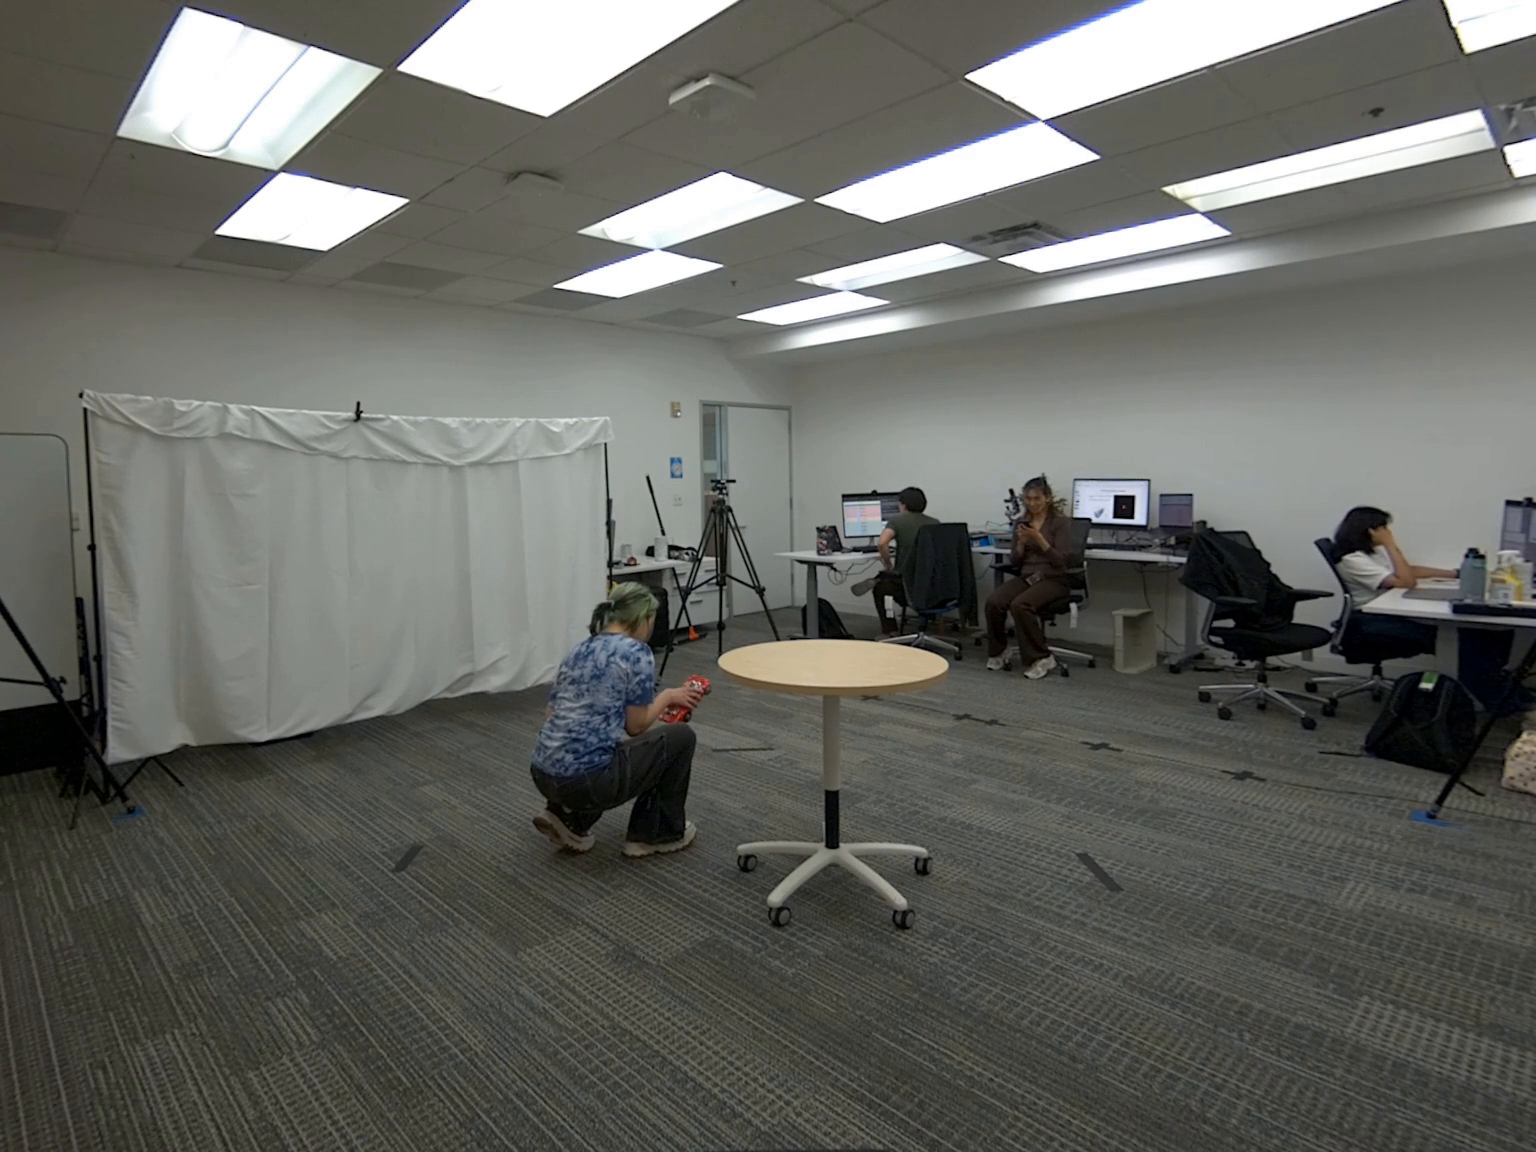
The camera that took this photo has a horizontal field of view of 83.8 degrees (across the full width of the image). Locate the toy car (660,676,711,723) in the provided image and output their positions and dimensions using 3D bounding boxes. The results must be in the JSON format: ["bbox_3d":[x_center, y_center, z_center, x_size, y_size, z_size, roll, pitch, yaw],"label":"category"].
[{"bbox_3d":[-0.348,0.517,3.456,0.134,0.081,0.253,13,39,35],"label":"toy car"}]
